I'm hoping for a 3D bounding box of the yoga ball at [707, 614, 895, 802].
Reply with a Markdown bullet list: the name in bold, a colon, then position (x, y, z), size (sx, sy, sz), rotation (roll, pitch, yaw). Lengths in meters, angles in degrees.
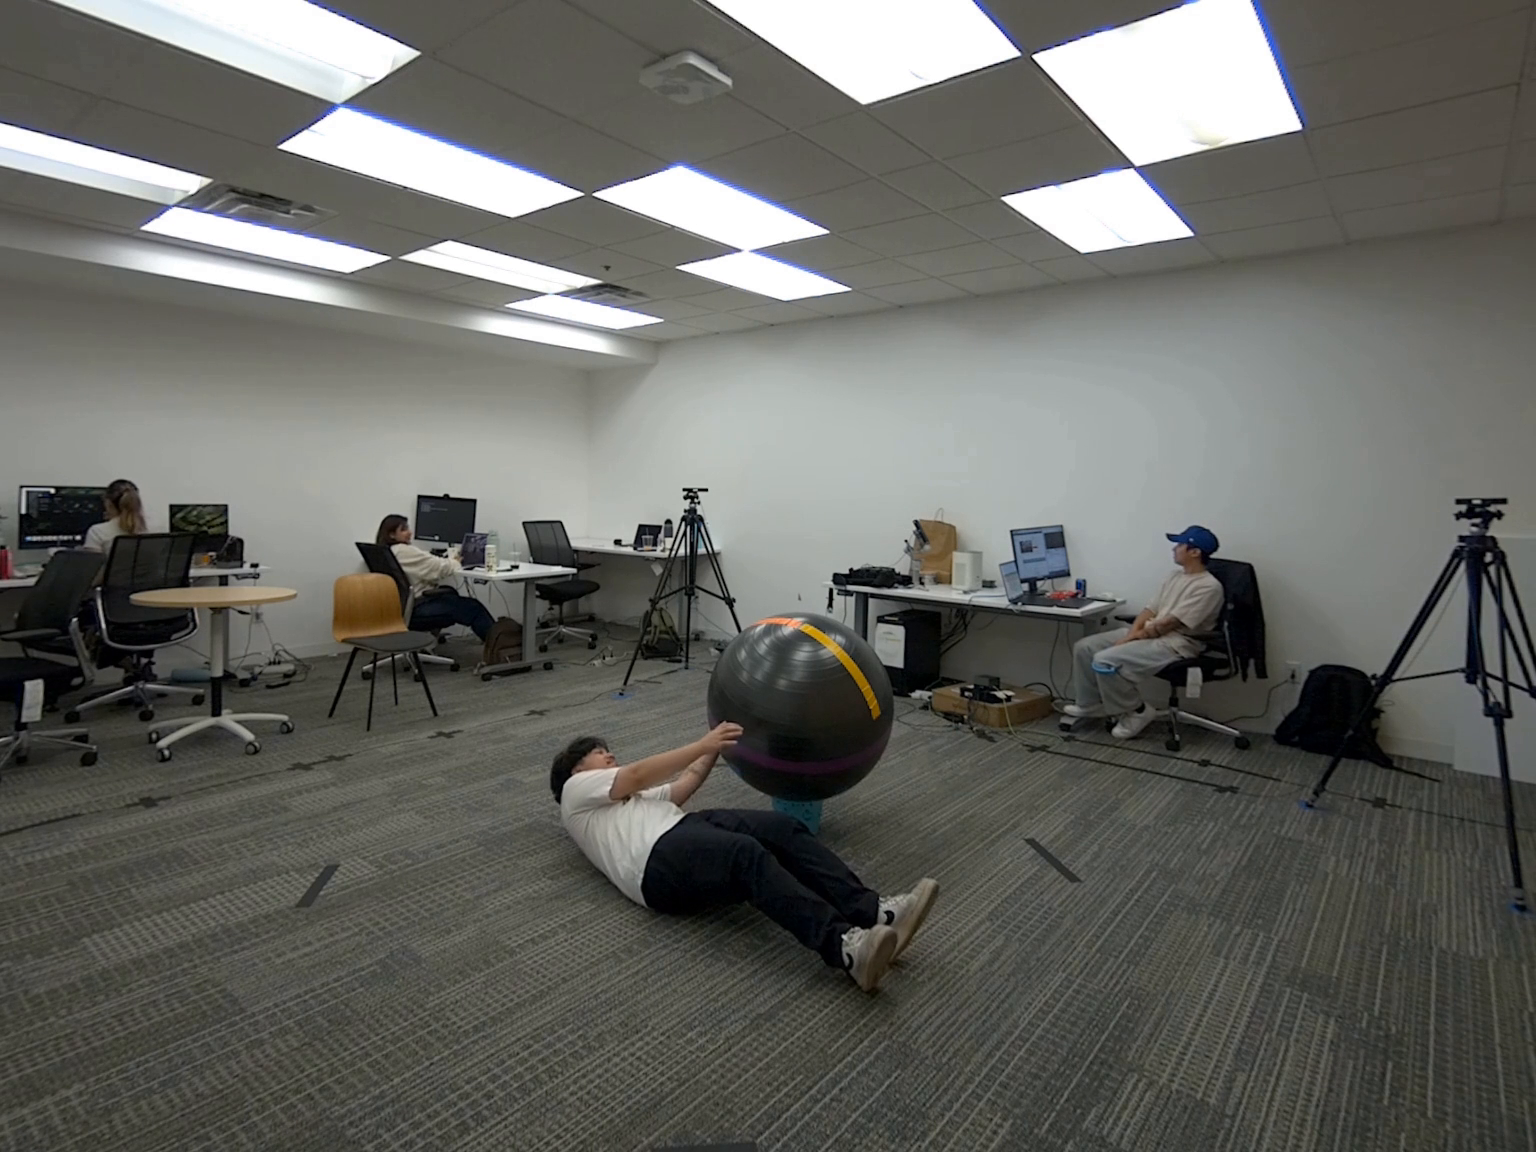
- **yoga ball**: position (0.129, 0.525, 3.485), size (0.757, 0.756, 0.761), rotation (1, 4, -2)
